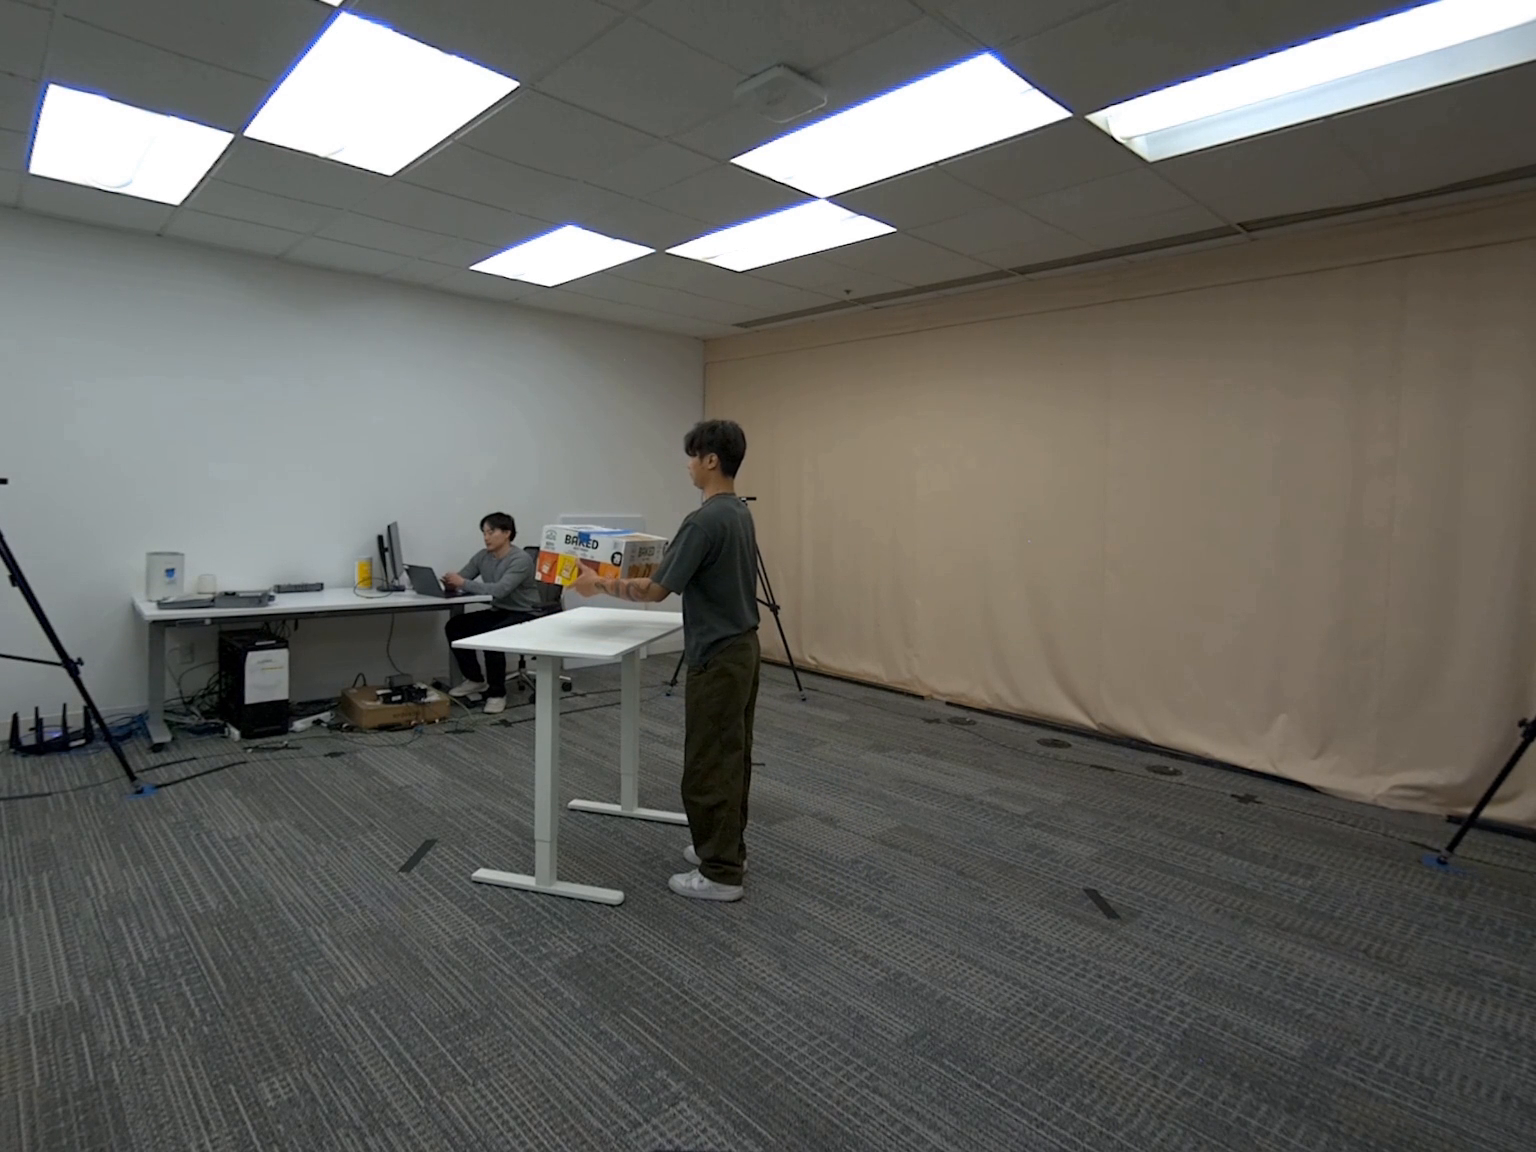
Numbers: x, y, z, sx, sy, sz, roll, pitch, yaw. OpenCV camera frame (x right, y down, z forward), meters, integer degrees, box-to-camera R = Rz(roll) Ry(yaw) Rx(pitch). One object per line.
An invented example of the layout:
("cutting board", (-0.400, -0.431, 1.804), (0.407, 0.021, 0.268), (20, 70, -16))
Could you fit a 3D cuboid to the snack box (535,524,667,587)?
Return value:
("snack box", (-0.622, -0.065, 3.205), (0.346, 0.205, 0.400), (11, 6, 16))
